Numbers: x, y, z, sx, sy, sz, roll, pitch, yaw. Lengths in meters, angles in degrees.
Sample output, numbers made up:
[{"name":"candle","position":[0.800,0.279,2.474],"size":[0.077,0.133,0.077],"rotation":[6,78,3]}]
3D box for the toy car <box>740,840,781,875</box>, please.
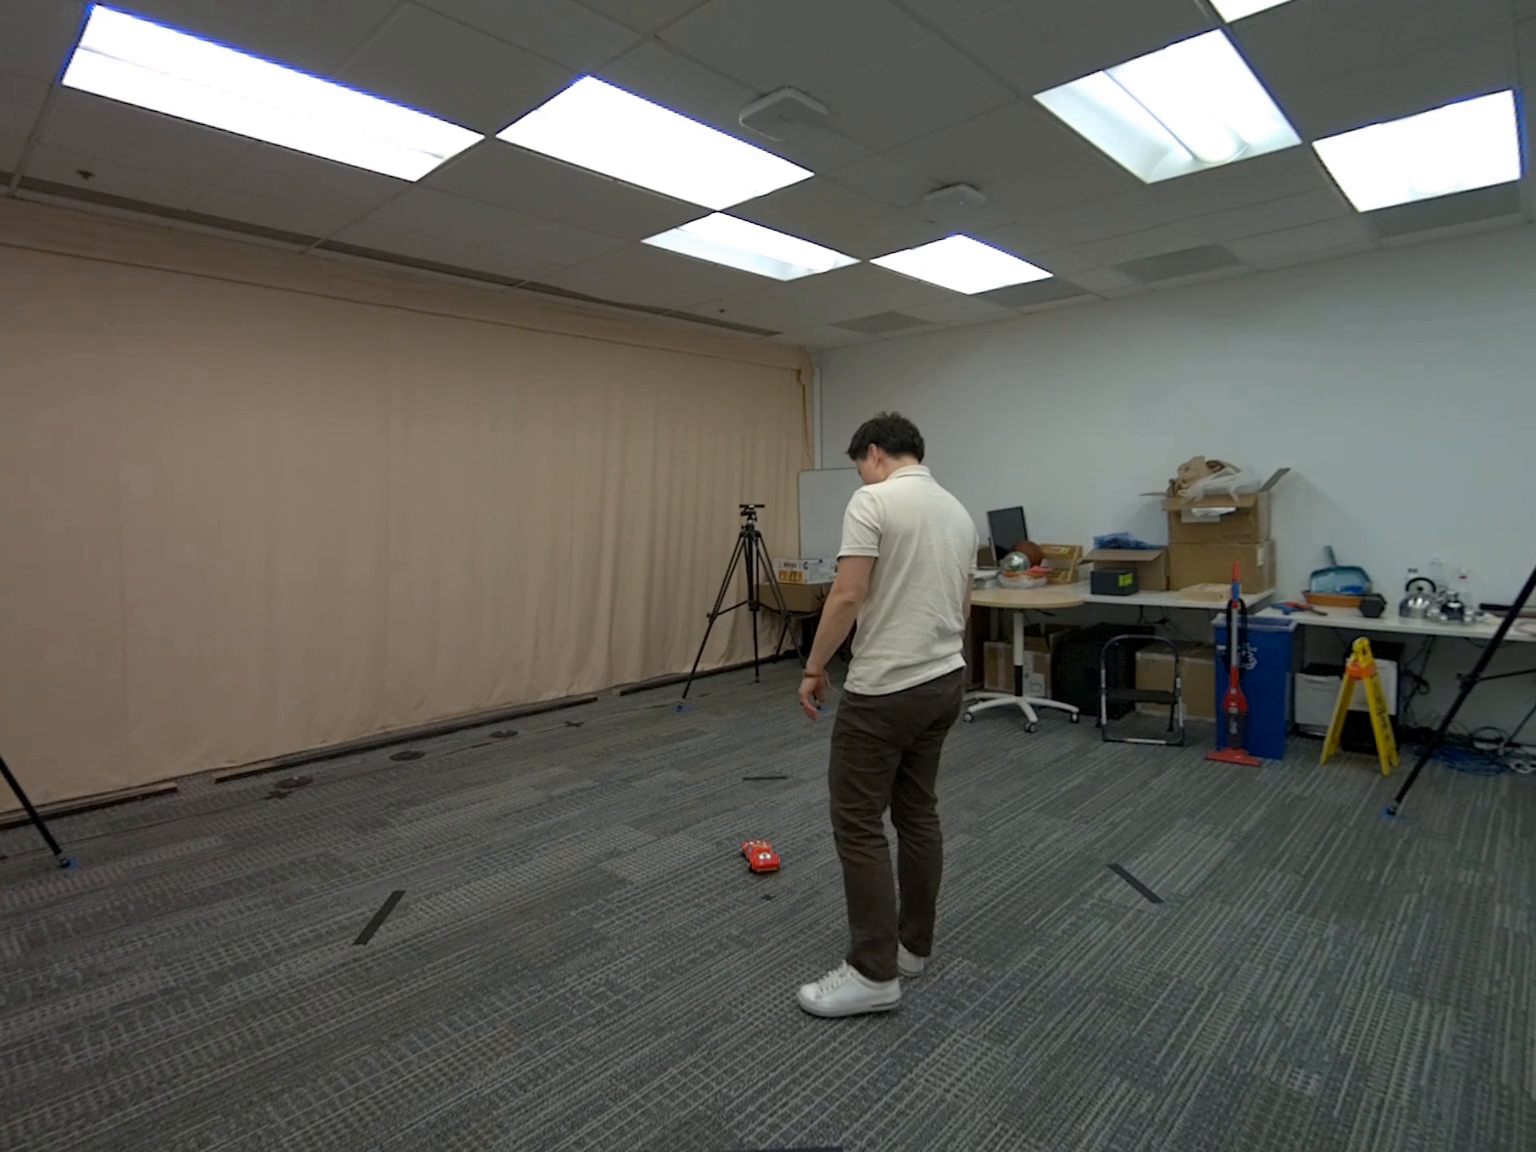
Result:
[{"name":"toy car","position":[-0.027,1.082,3.254],"size":[0.129,0.083,0.256],"rotation":[-1,-5,-11]}]
